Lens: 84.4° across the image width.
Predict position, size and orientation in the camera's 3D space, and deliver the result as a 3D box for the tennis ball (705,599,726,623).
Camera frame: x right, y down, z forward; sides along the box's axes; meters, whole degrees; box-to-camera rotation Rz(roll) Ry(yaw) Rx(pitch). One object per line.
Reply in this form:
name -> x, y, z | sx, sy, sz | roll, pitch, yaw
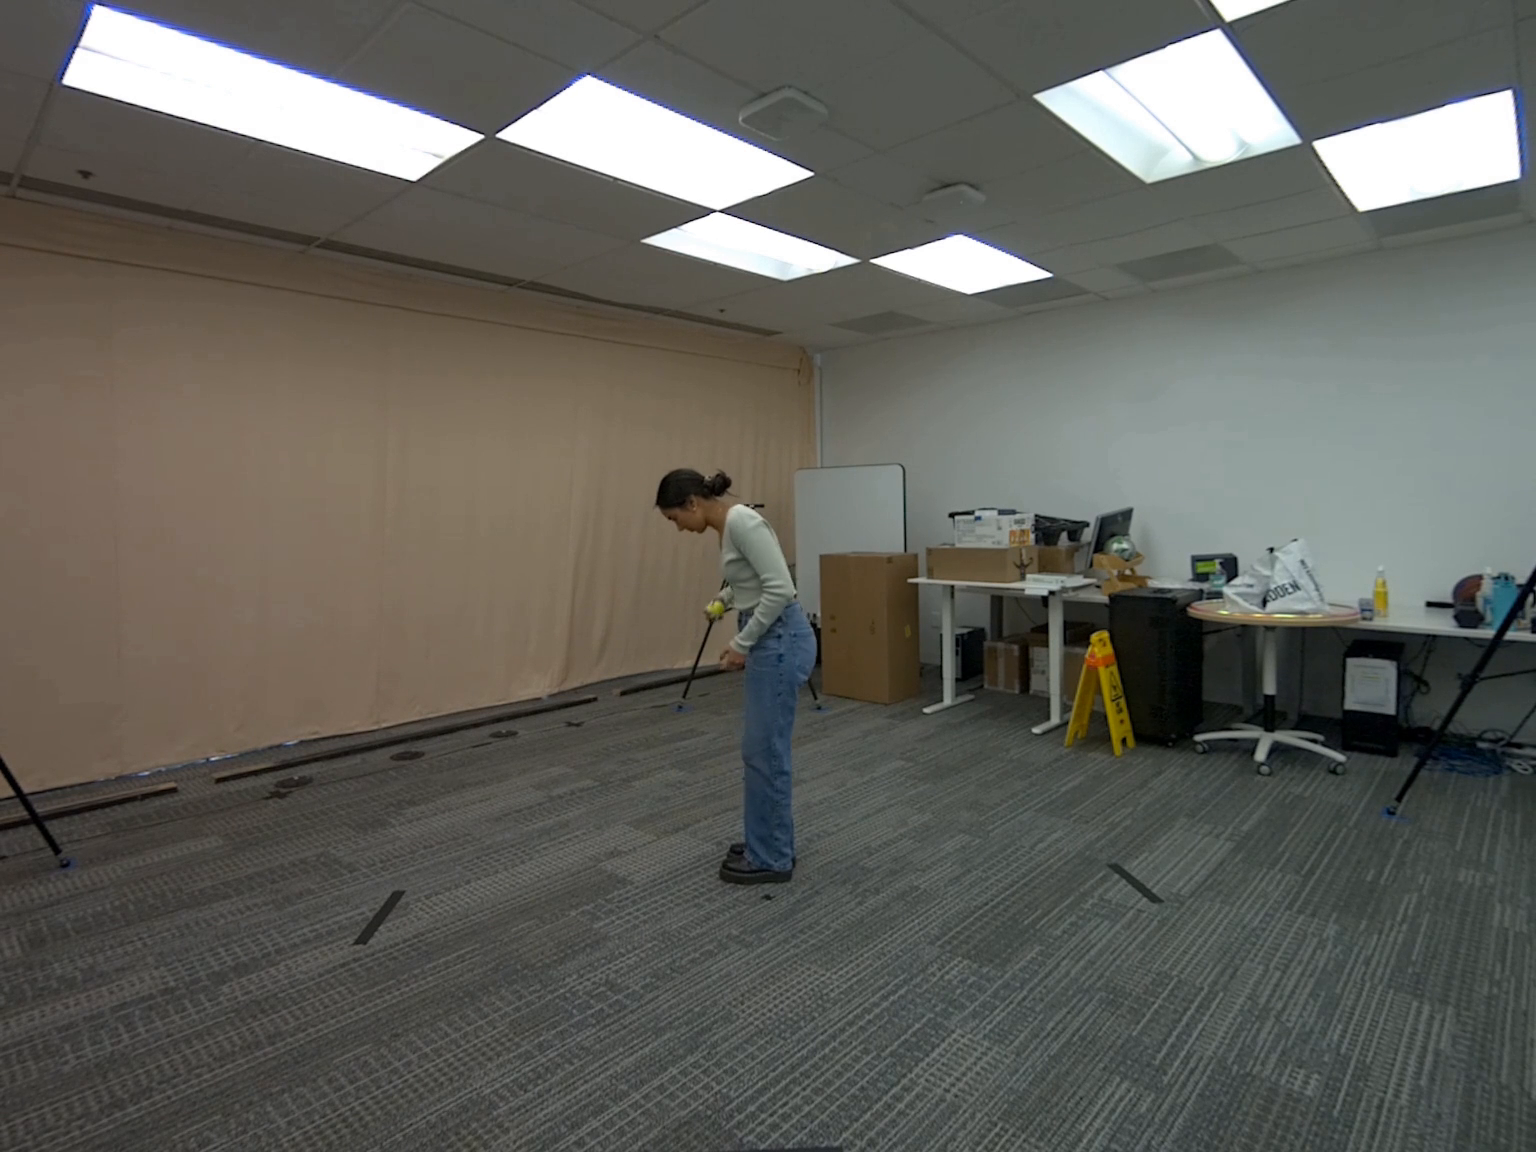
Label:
tennis ball -> -0.192, 0.154, 3.272 | 0.066, 0.066, 0.067 | -1, 4, -2
